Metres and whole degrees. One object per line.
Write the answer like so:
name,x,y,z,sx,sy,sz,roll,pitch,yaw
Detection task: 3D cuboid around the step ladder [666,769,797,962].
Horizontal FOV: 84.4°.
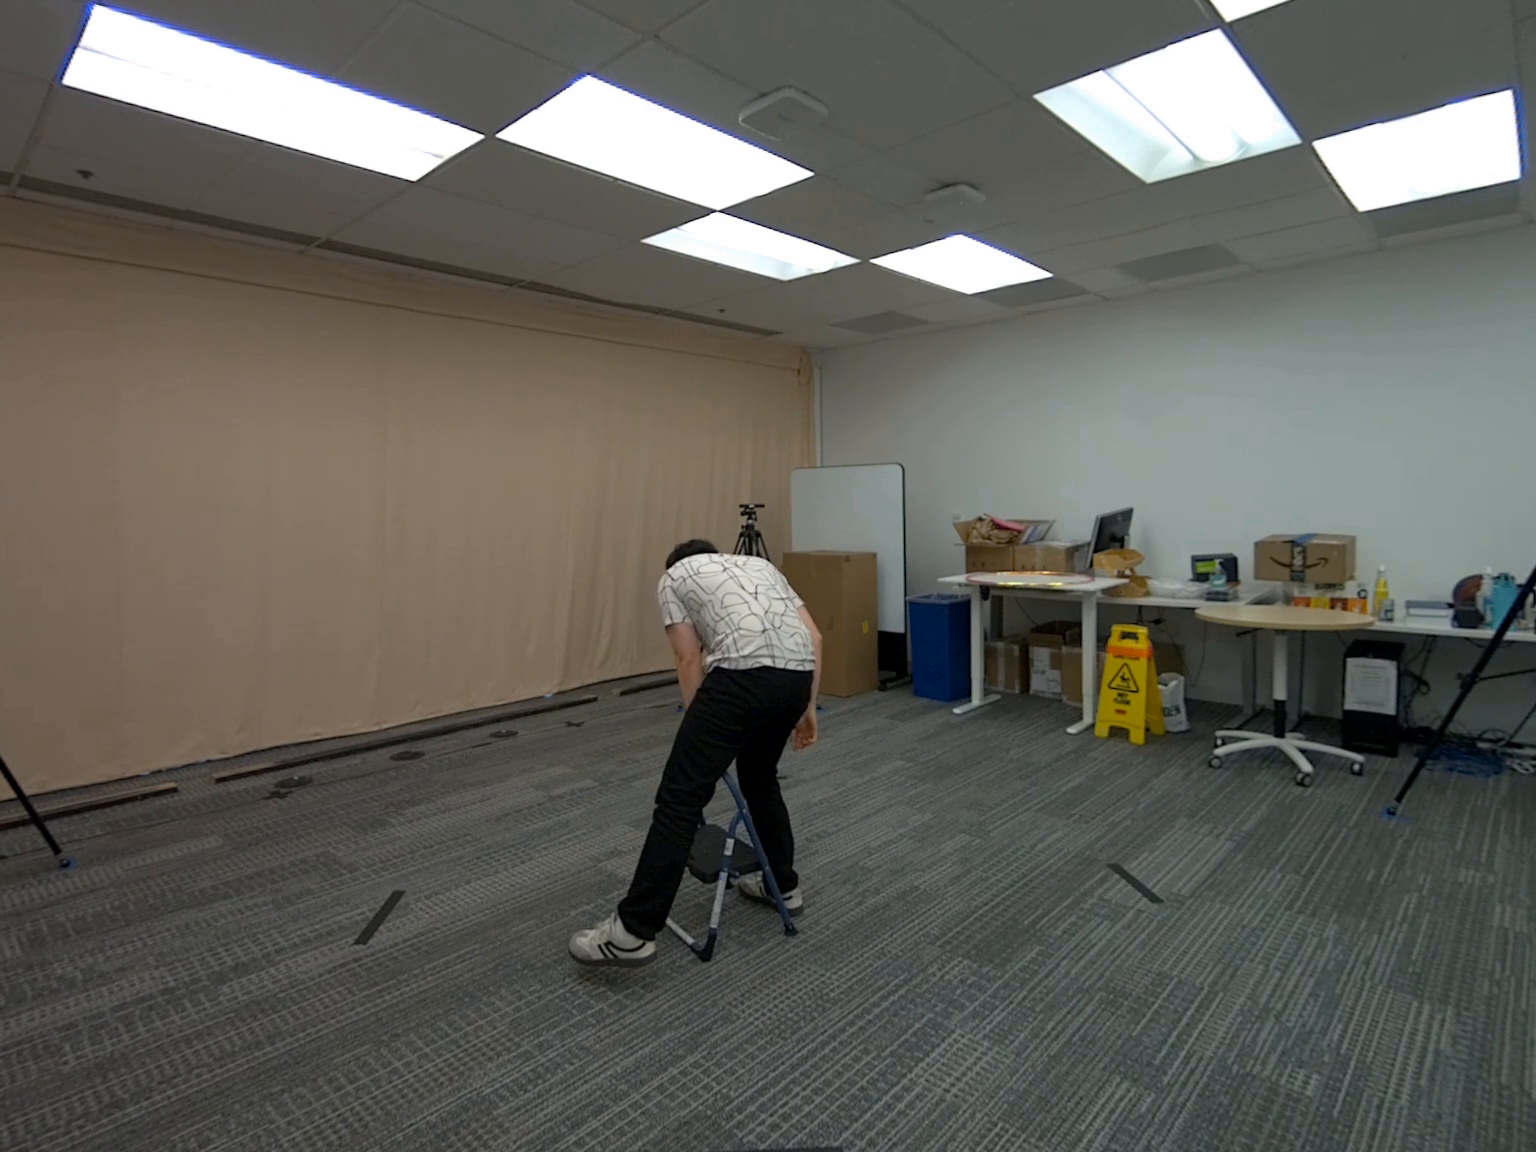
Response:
step ladder,-0.171,0.855,2.806,0.339,0.604,0.444,-3,5,-33
